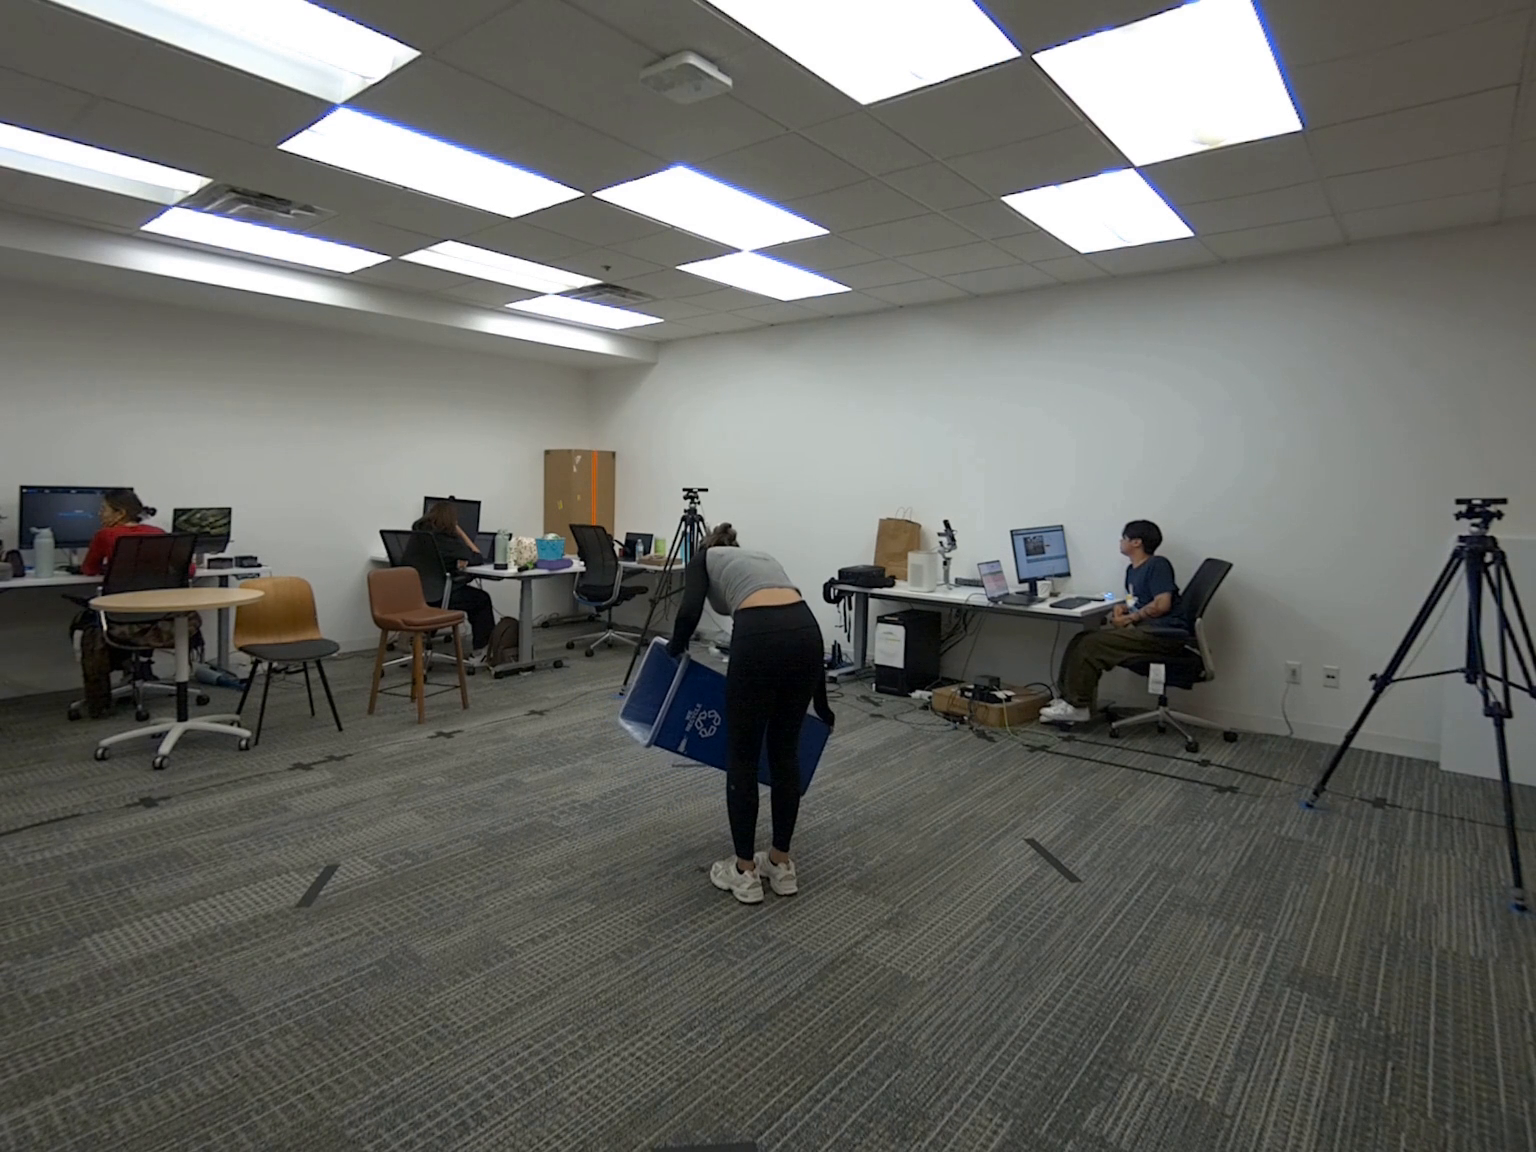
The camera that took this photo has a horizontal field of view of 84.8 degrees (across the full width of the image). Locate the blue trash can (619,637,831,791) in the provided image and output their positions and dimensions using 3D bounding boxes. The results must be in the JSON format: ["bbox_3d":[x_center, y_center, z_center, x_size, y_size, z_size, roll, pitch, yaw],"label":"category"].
[{"bbox_3d":[-0.165,0.552,3.307,0.692,0.375,0.388,26,-8,-24],"label":"blue trash can"}]
